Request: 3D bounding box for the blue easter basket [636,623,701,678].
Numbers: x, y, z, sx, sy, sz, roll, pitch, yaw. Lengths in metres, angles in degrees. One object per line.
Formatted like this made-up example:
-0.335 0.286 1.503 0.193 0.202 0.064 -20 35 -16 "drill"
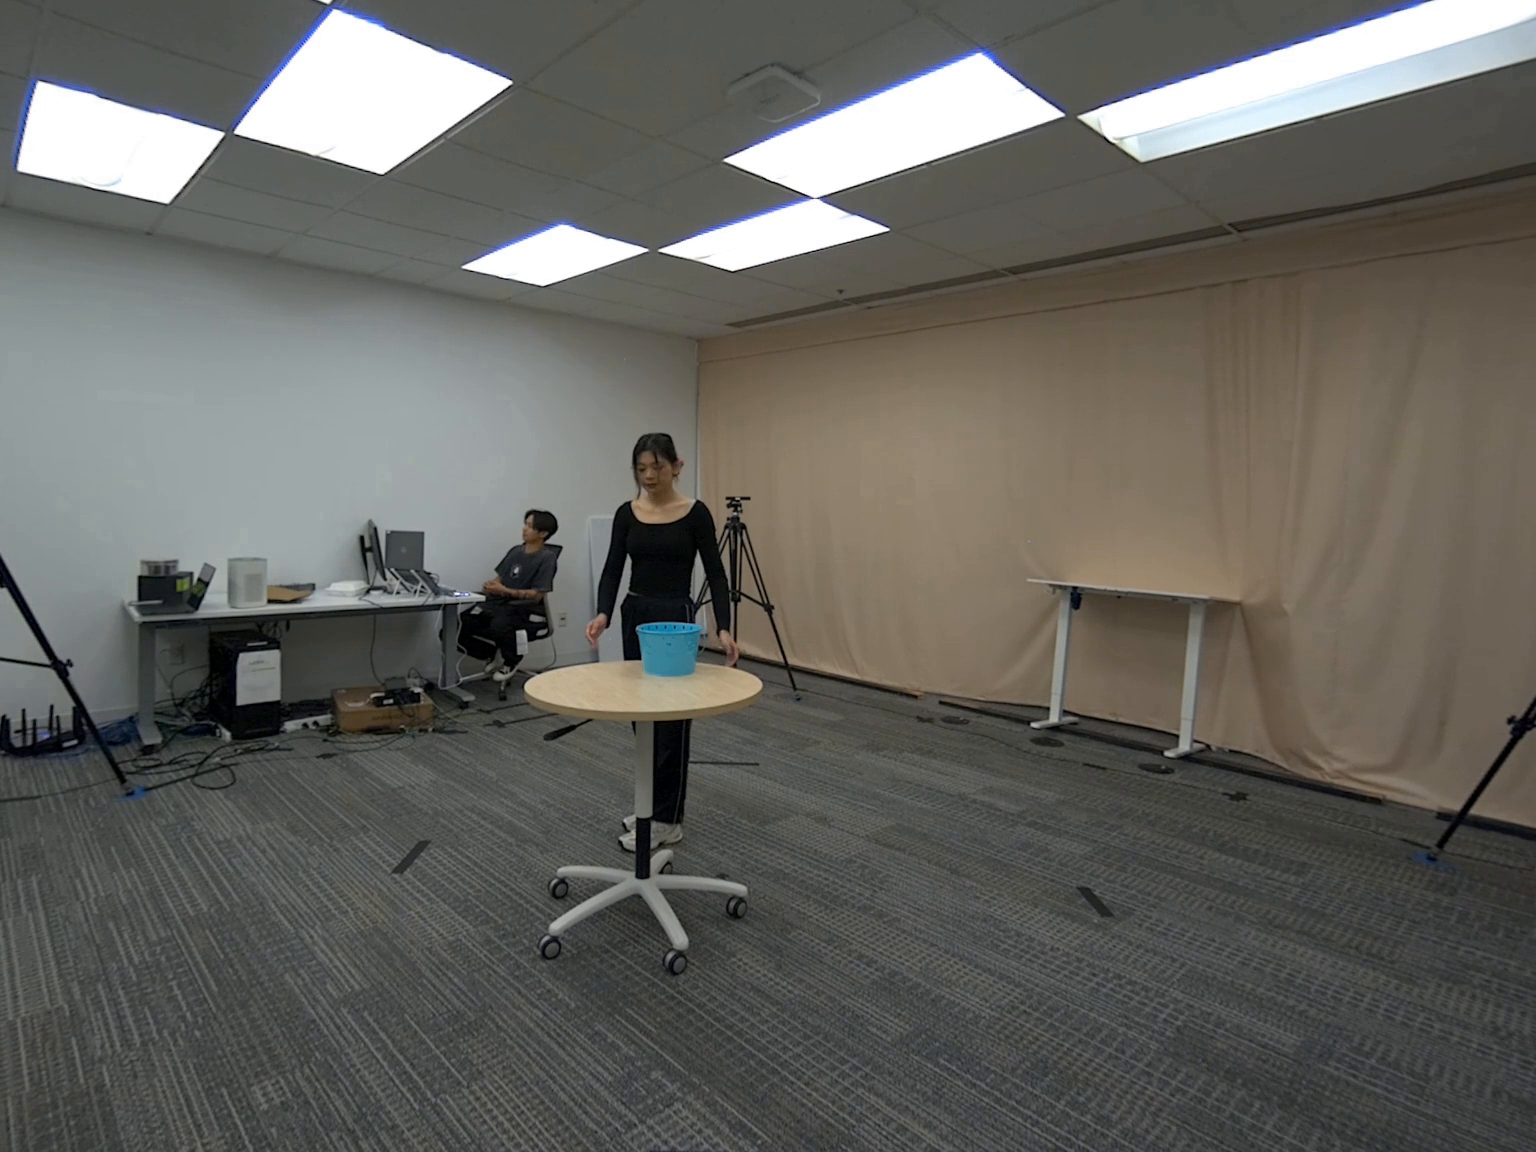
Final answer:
-0.351 0.258 2.933 0.243 0.155 0.244 -1 5 -1 "blue easter basket"
